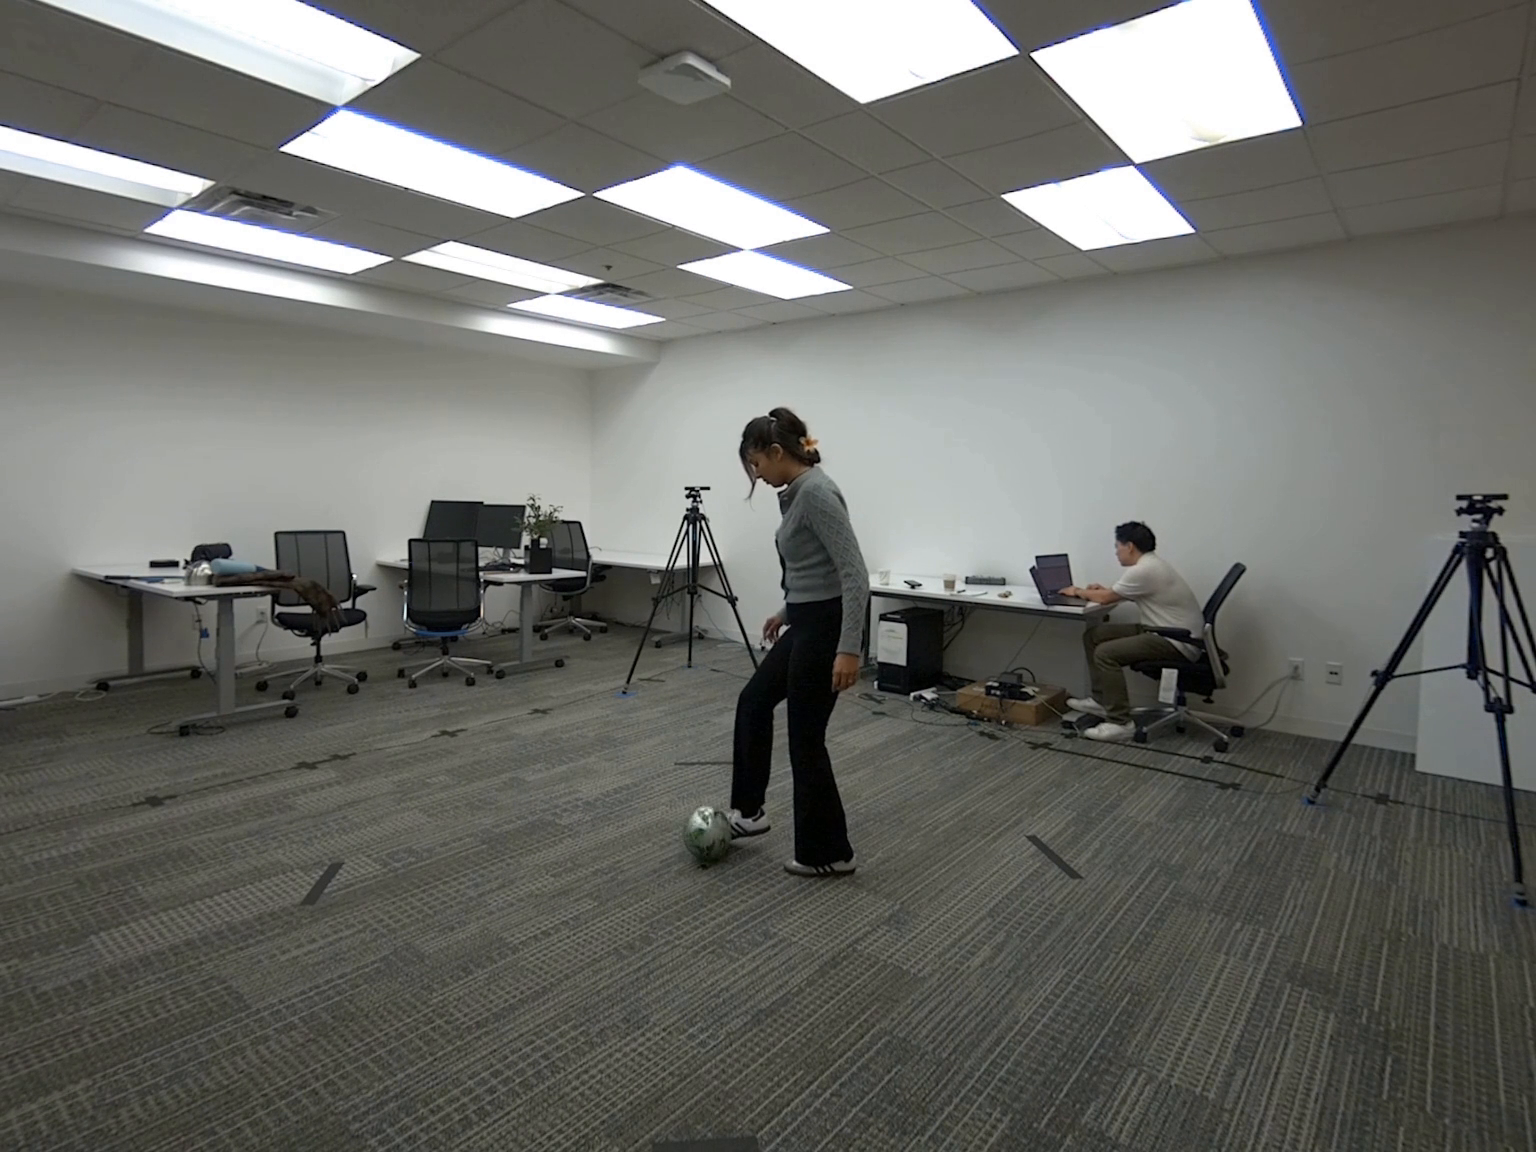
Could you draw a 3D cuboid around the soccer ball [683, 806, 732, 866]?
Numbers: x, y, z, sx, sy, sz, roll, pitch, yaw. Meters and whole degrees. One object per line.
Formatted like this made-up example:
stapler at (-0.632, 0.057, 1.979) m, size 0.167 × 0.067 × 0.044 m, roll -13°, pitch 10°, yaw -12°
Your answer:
soccer ball at (-0.248, 0.962, 3.174) m, size 0.187 × 0.187 × 0.188 m, roll 1°, pitch 4°, yaw -2°
